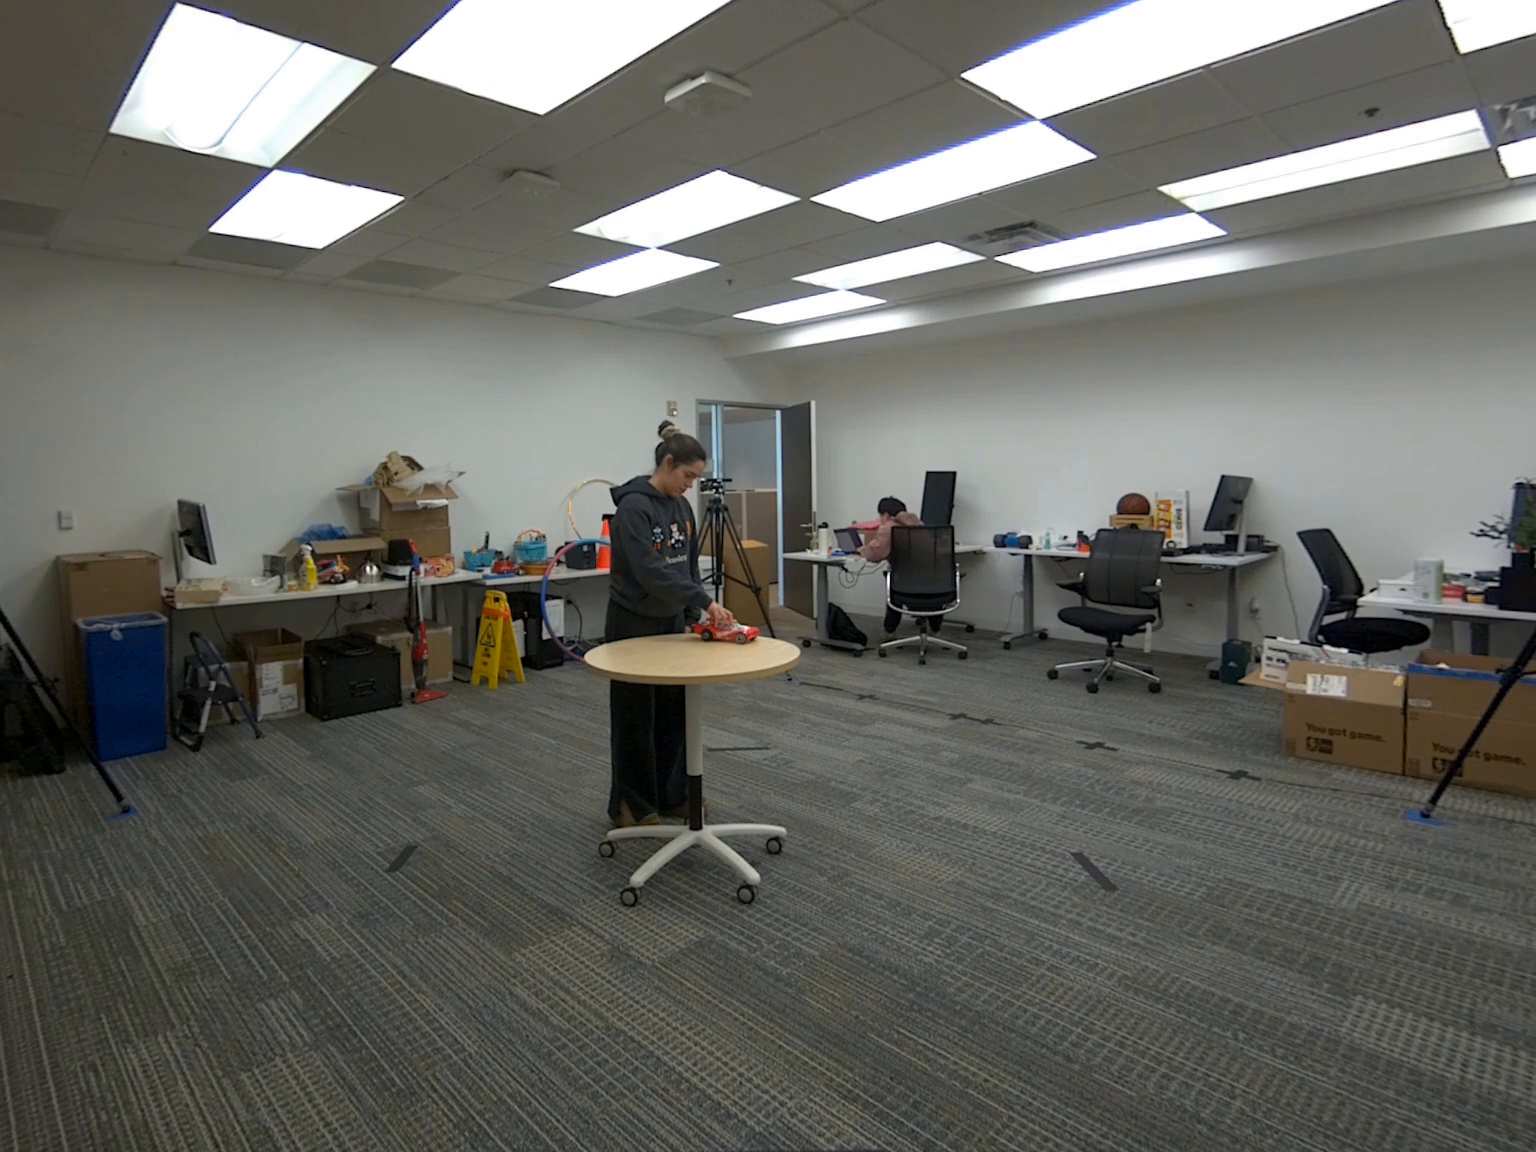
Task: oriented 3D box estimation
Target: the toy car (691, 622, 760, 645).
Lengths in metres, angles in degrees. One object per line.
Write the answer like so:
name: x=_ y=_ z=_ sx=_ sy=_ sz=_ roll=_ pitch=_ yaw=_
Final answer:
toy car: x=-0.162 y=0.217 z=3.259 sx=0.261 sy=0.082 sz=0.128 roll=14 pitch=11 yaw=26
